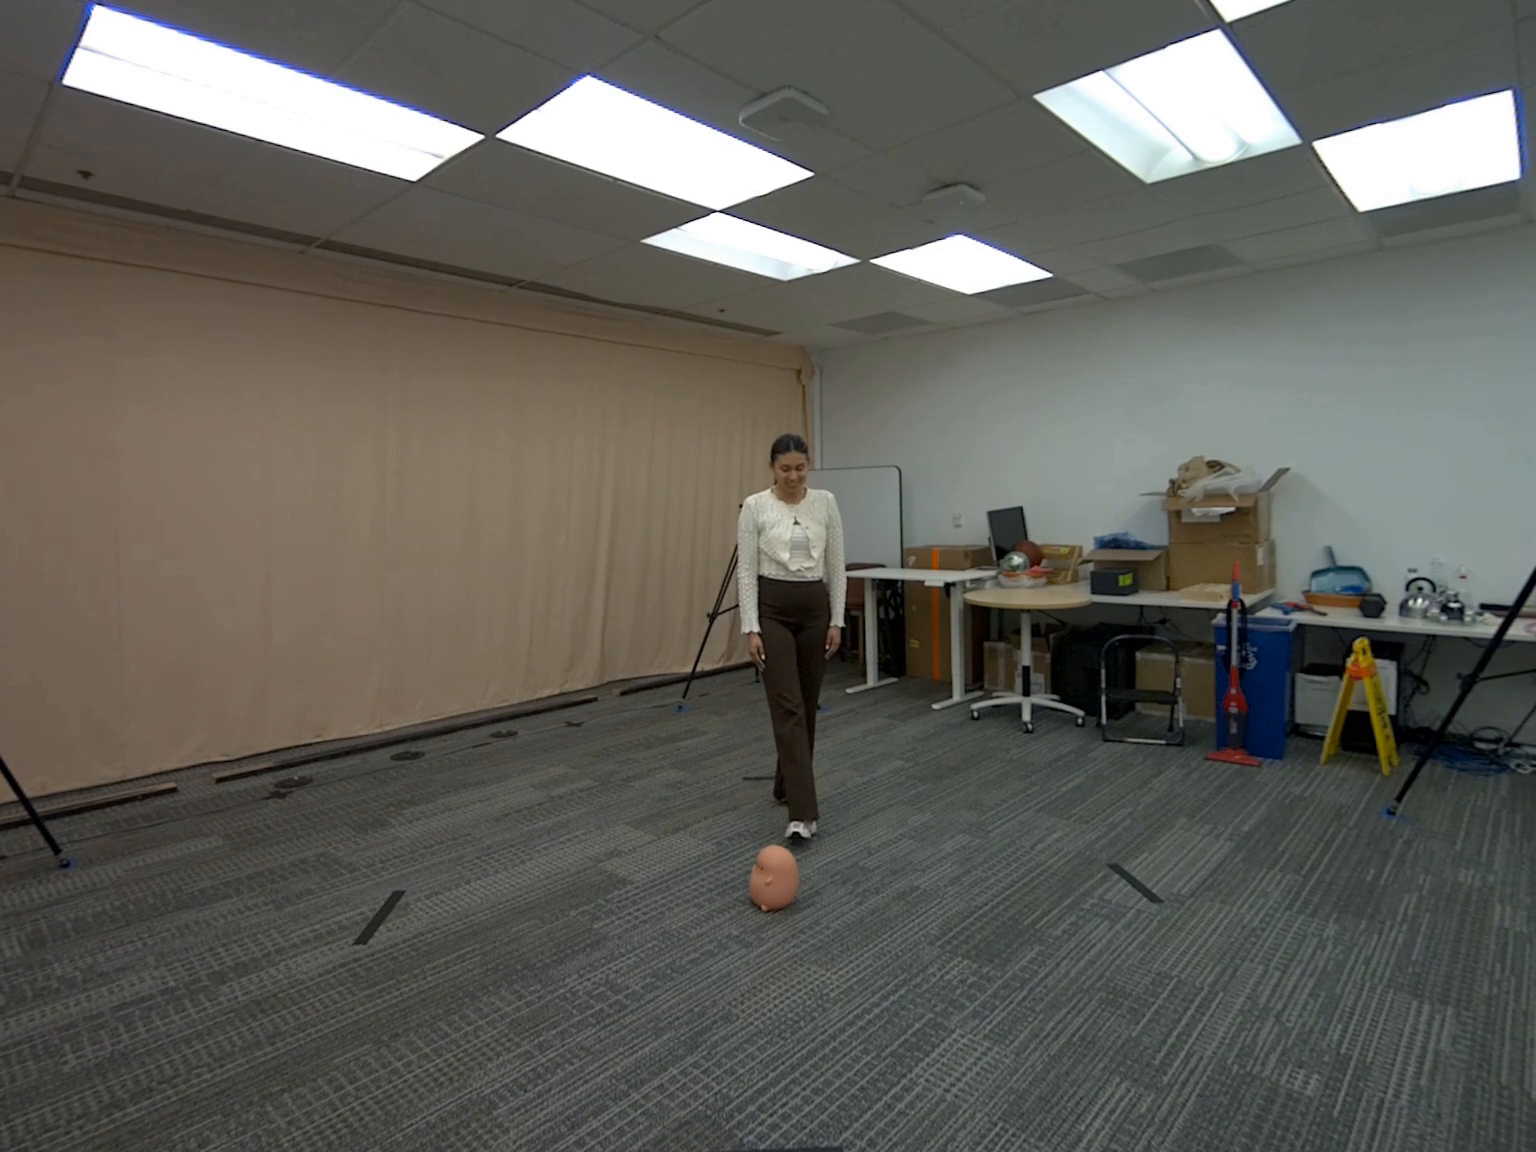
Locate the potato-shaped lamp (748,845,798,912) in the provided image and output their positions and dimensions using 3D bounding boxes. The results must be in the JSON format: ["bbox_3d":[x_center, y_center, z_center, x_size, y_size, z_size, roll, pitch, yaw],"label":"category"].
[{"bbox_3d":[0.021,1.043,2.934,0.168,0.197,0.169,-4,6,-23],"label":"potato-shaped lamp"}]
